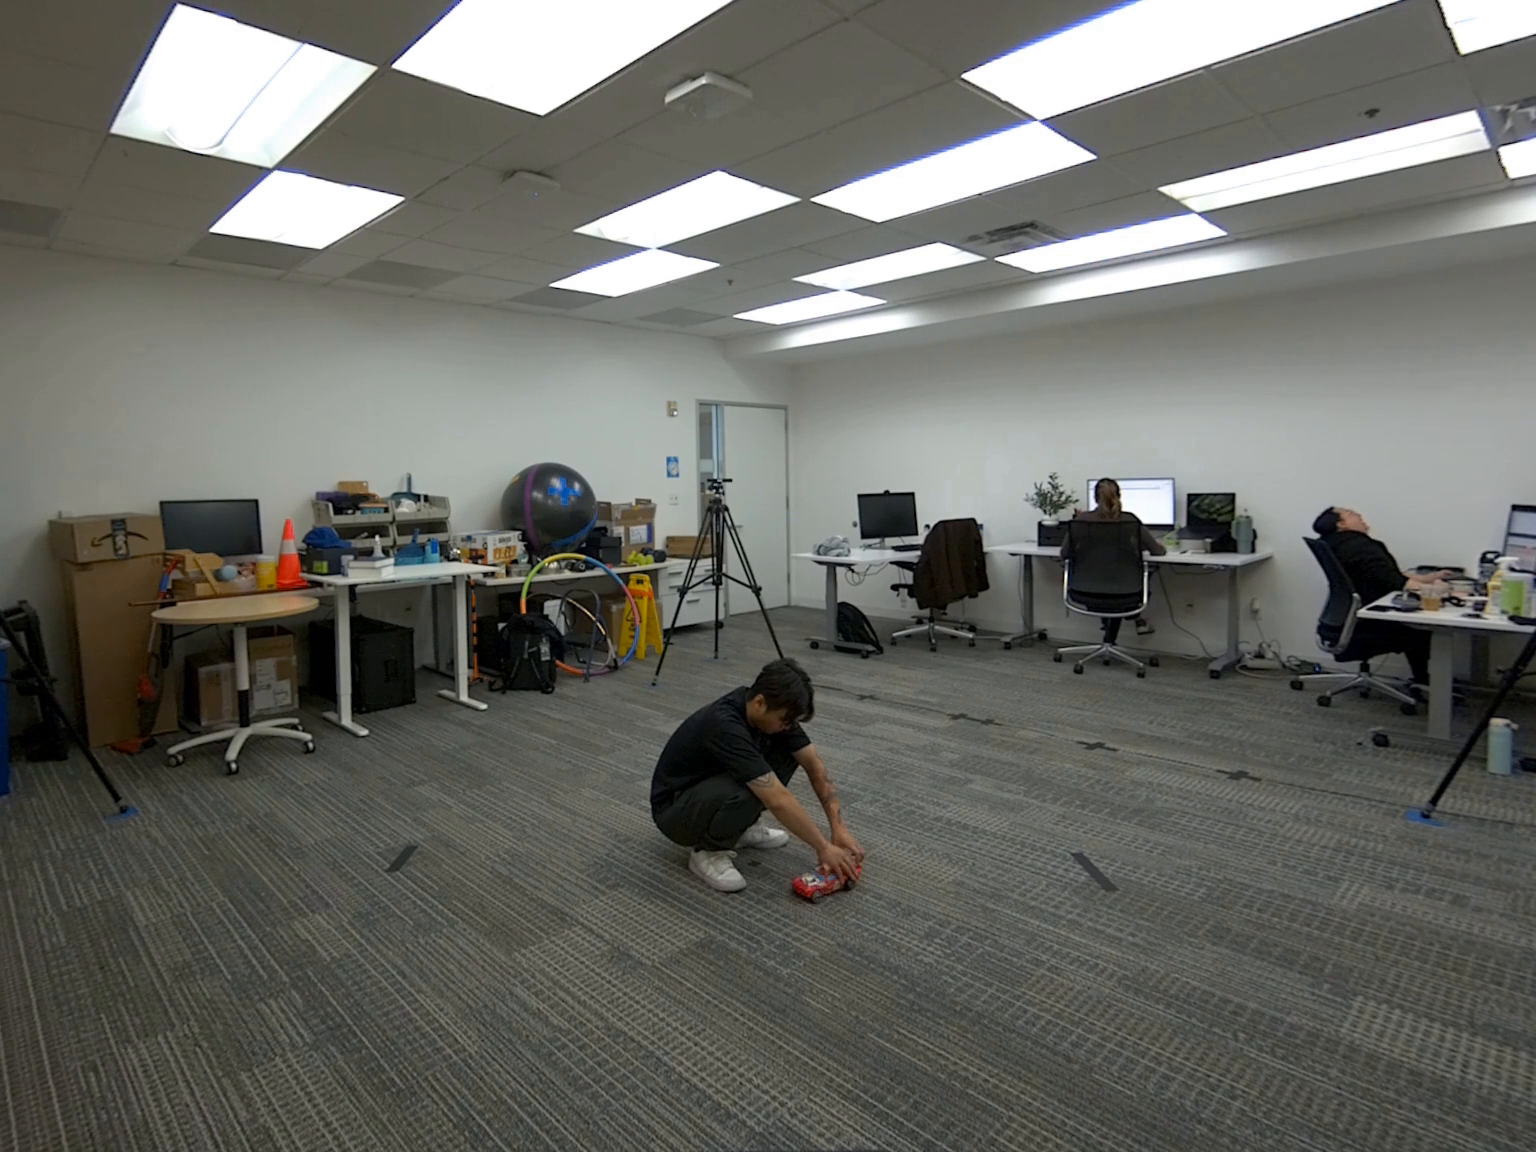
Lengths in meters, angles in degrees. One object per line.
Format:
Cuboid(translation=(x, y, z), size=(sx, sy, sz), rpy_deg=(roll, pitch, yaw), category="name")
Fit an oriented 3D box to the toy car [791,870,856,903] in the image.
Cuboid(translation=(0.205, 1.032, 2.903), size=(0.250, 0.082, 0.134), rpy_deg=(-16, 13, -32), category="toy car")
